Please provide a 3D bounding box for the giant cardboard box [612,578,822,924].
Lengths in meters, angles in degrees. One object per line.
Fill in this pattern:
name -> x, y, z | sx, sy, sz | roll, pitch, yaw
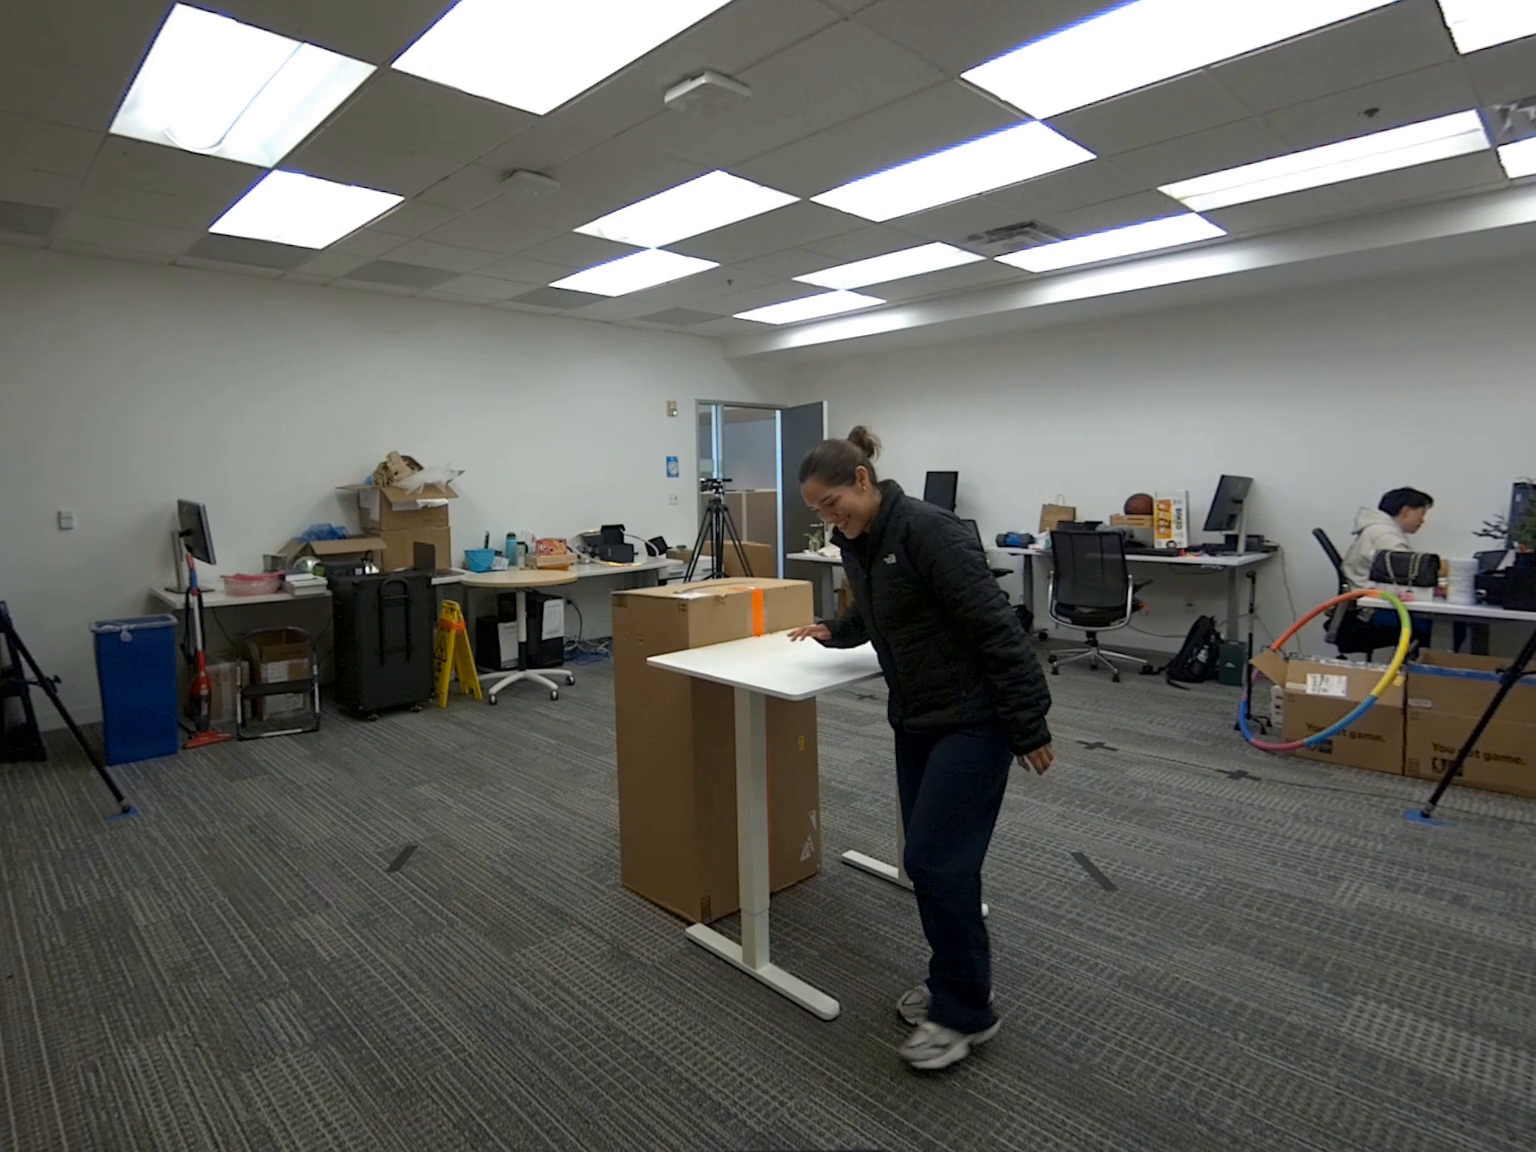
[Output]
giant cardboard box -> -0.176, 0.546, 2.982 | 0.568, 1.025, 0.460 | -4, 4, -43
